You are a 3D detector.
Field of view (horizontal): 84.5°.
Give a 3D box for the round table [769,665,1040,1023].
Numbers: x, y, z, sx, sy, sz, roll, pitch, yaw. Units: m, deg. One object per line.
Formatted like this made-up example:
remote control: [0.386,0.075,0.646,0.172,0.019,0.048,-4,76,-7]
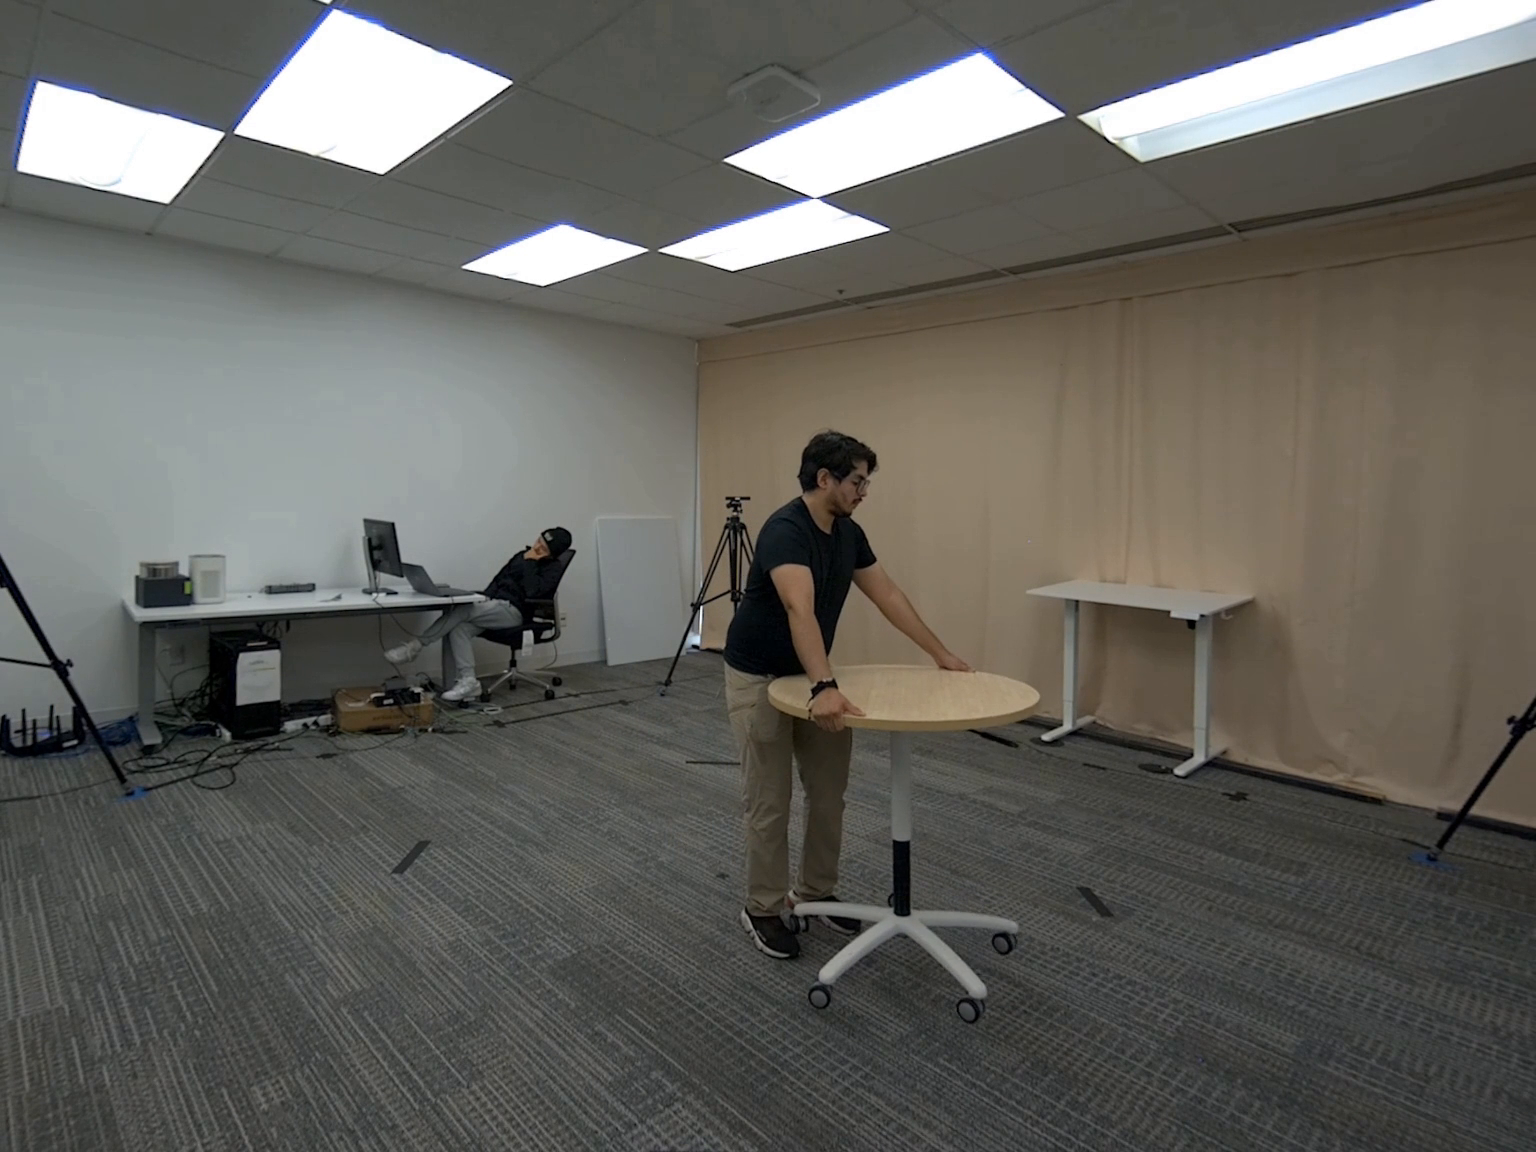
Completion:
round table: [0.392,0.728,2.464,0.785,0.785,0.787,0,3,-1]
